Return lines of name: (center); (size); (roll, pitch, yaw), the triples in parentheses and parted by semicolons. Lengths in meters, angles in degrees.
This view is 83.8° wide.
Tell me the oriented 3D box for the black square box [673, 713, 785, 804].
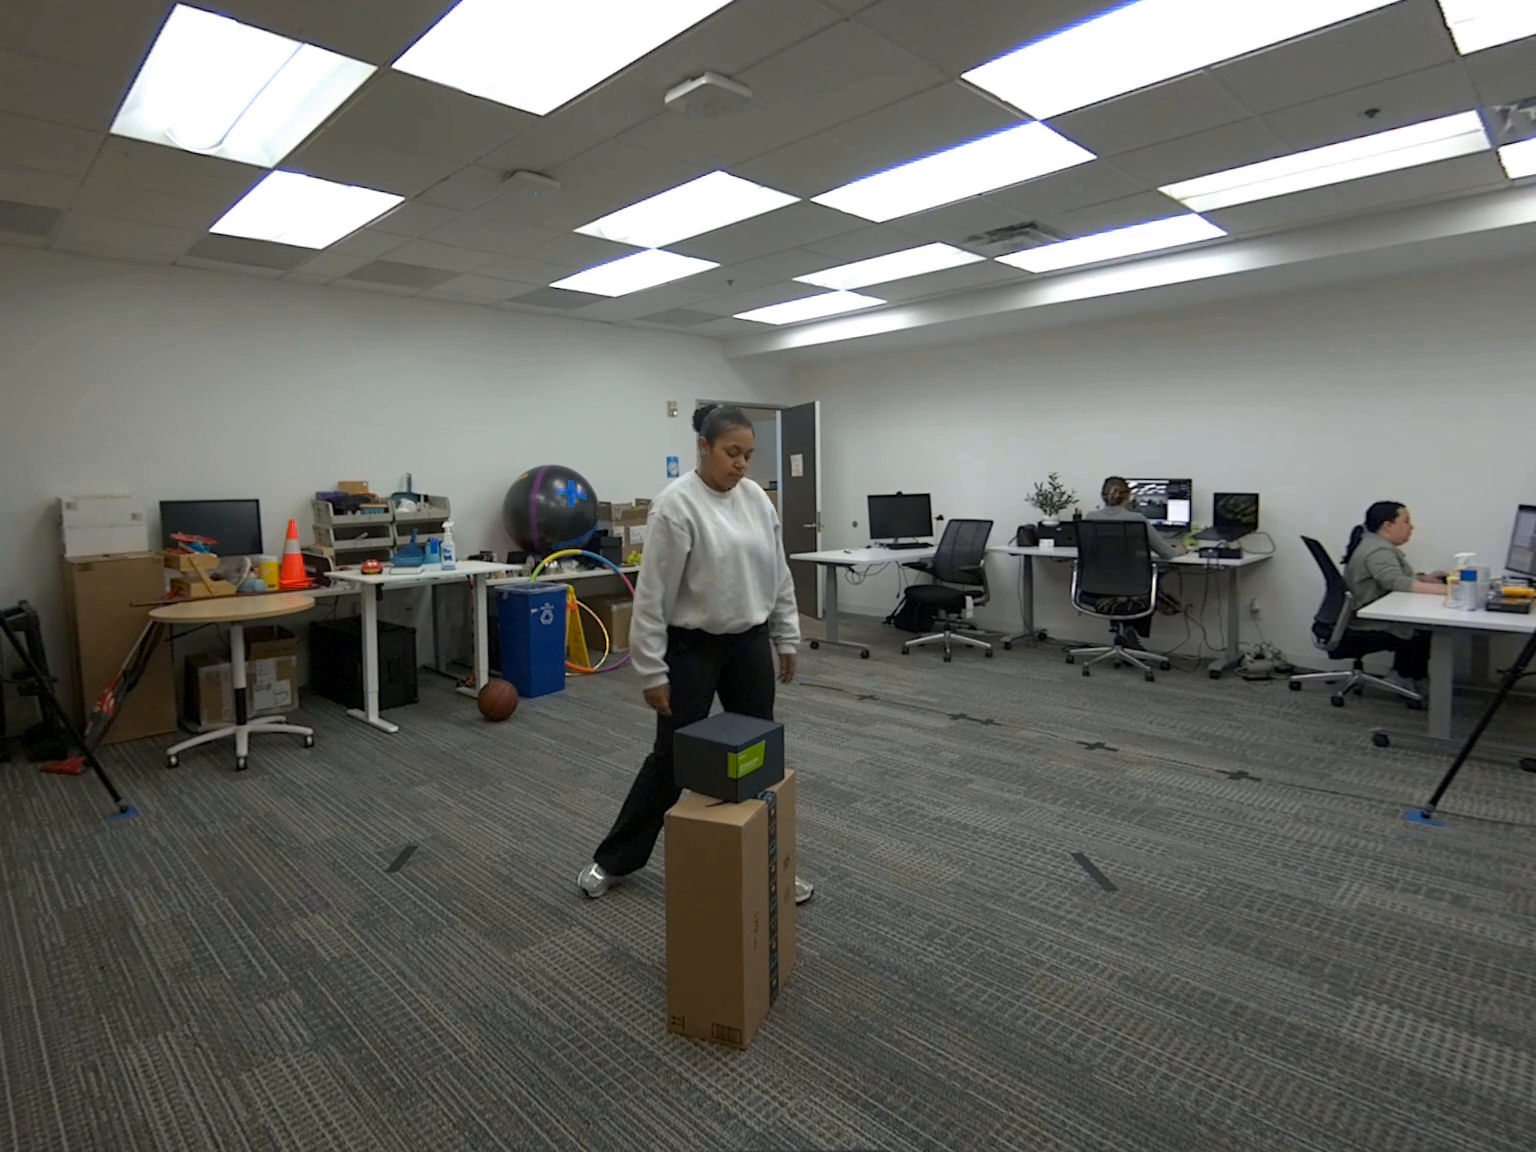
black square box: (-0.105, 0.490, 2.342); (0.223, 0.155, 0.222); (4, 8, 35)
